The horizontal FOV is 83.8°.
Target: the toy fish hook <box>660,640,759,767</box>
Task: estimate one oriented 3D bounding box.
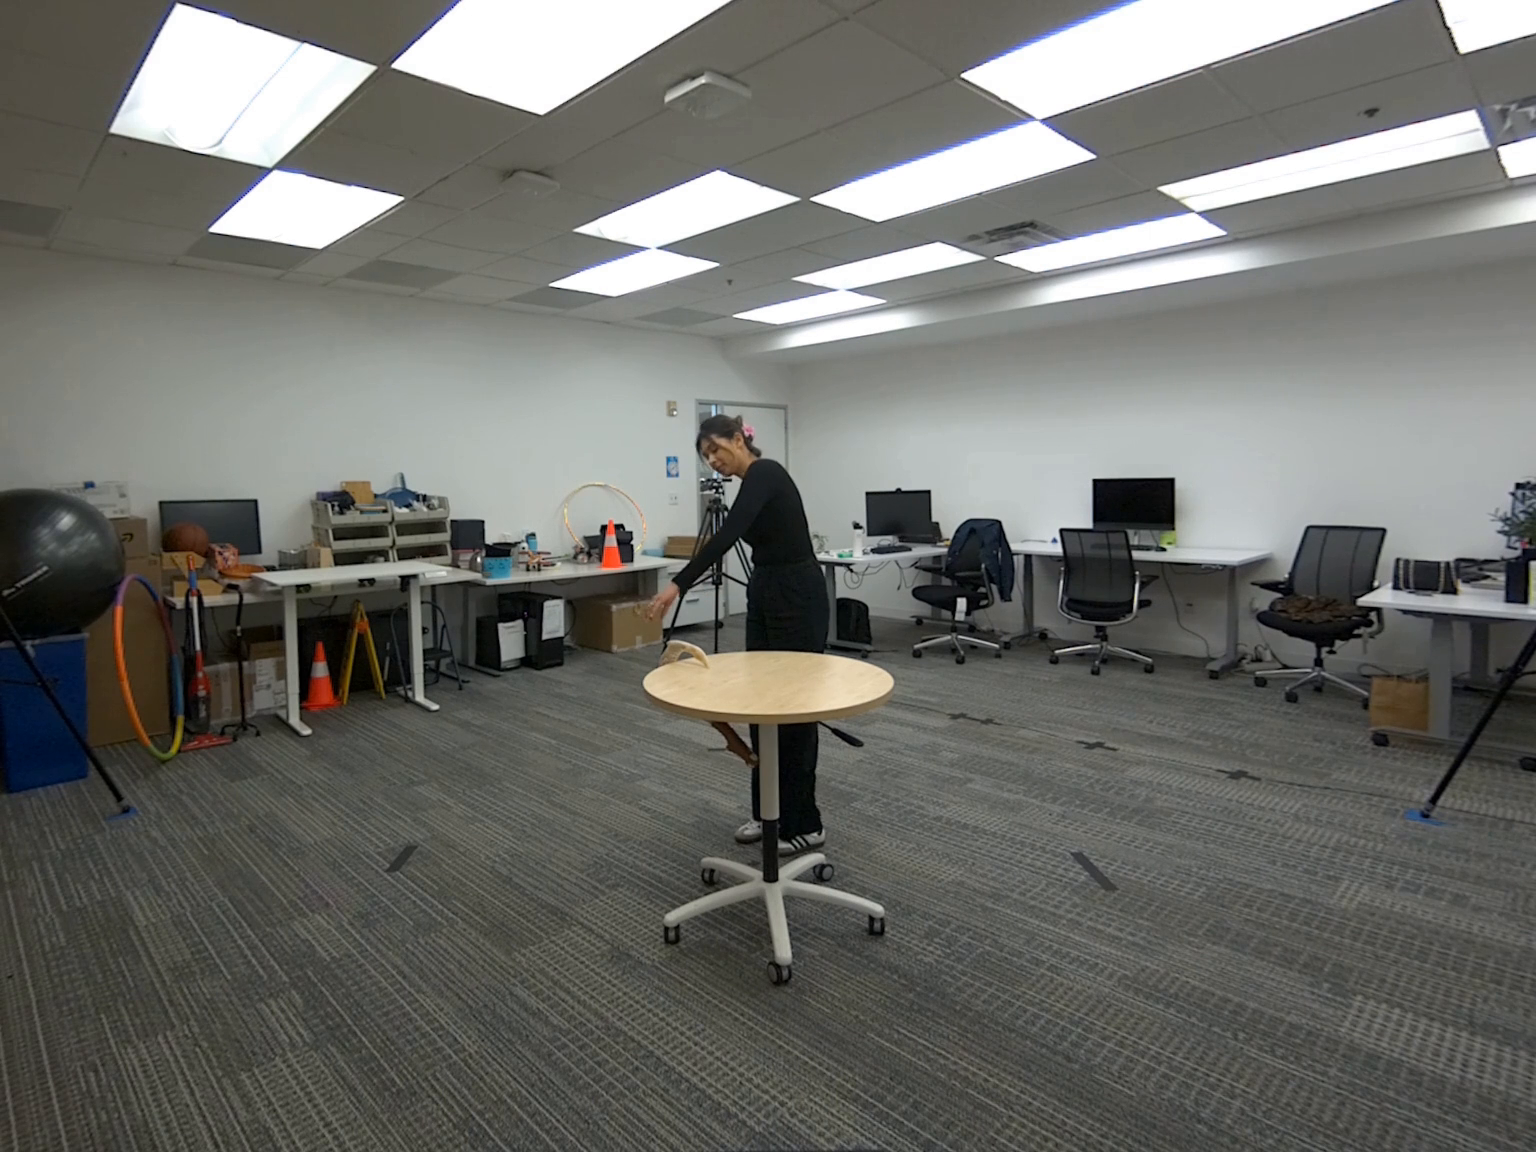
[{"bbox_3d":[-0.187,0.404,2.774,0.525,0.222,0.047,39,28,31],"label":"toy fish hook"}]
